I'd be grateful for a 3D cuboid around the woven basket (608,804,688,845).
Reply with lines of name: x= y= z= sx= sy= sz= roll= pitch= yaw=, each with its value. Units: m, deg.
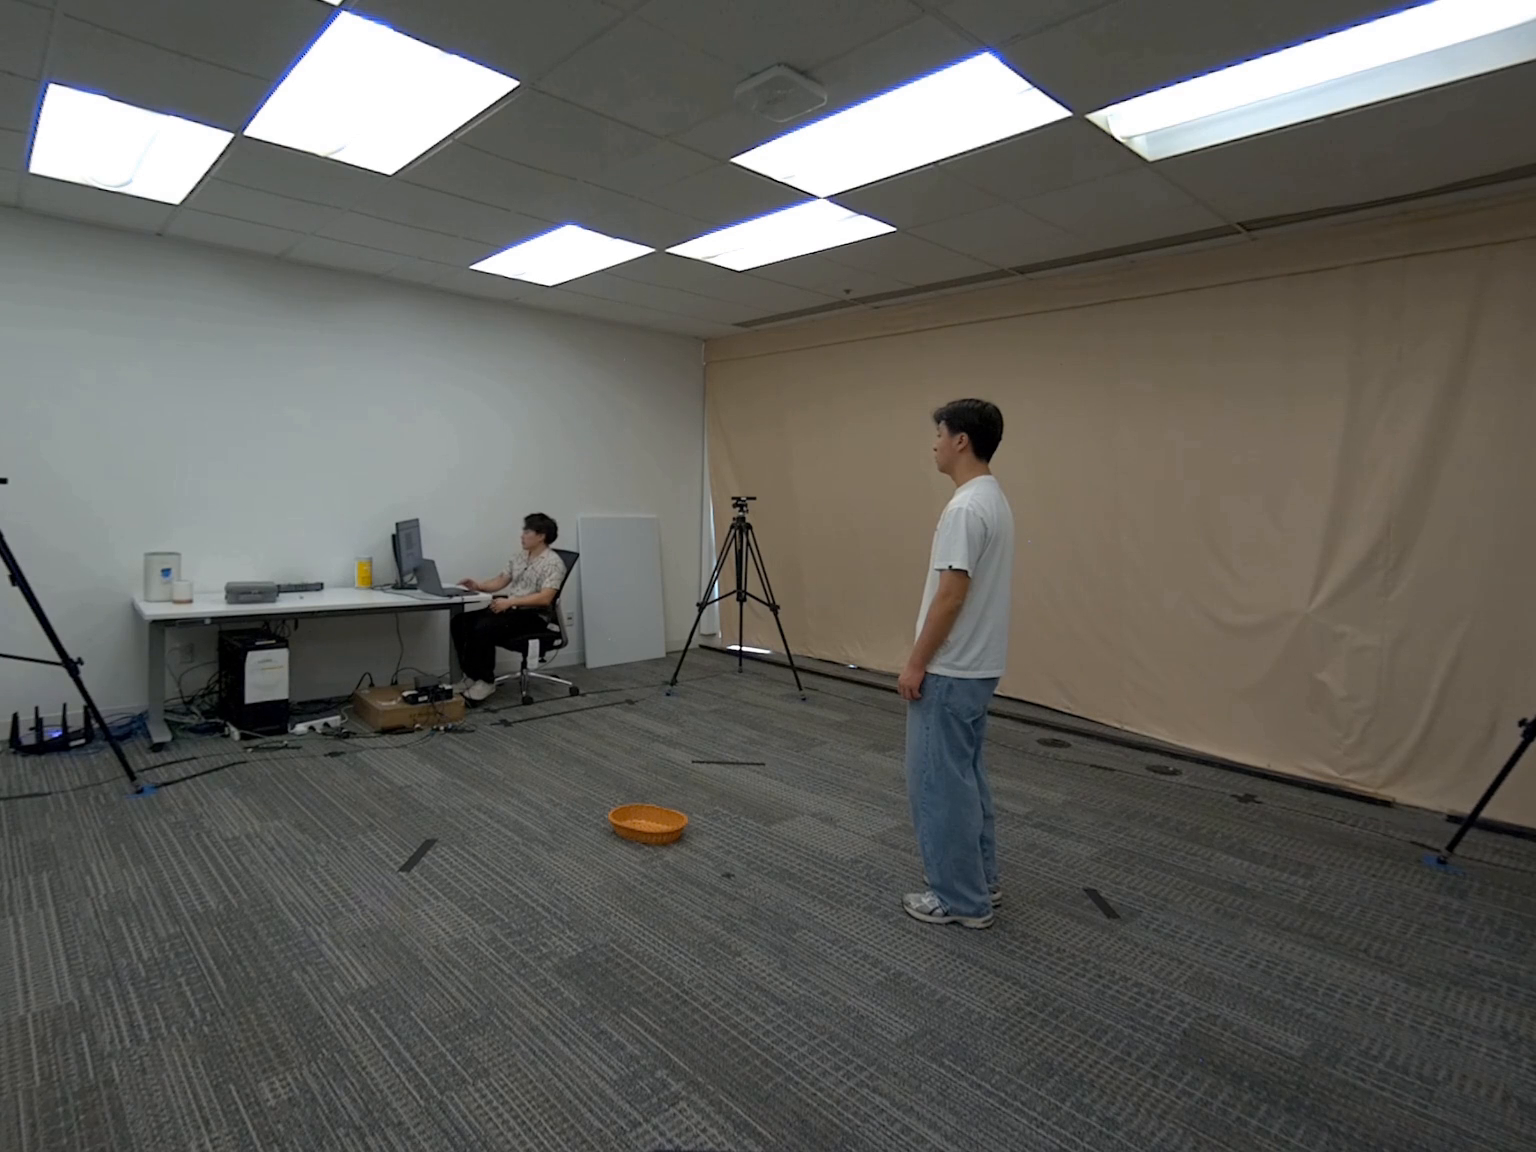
woven basket: x=-0.506 y=1.028 z=3.471 sx=0.358 sy=0.073 sz=0.248 roll=5 pitch=6 yaw=29
